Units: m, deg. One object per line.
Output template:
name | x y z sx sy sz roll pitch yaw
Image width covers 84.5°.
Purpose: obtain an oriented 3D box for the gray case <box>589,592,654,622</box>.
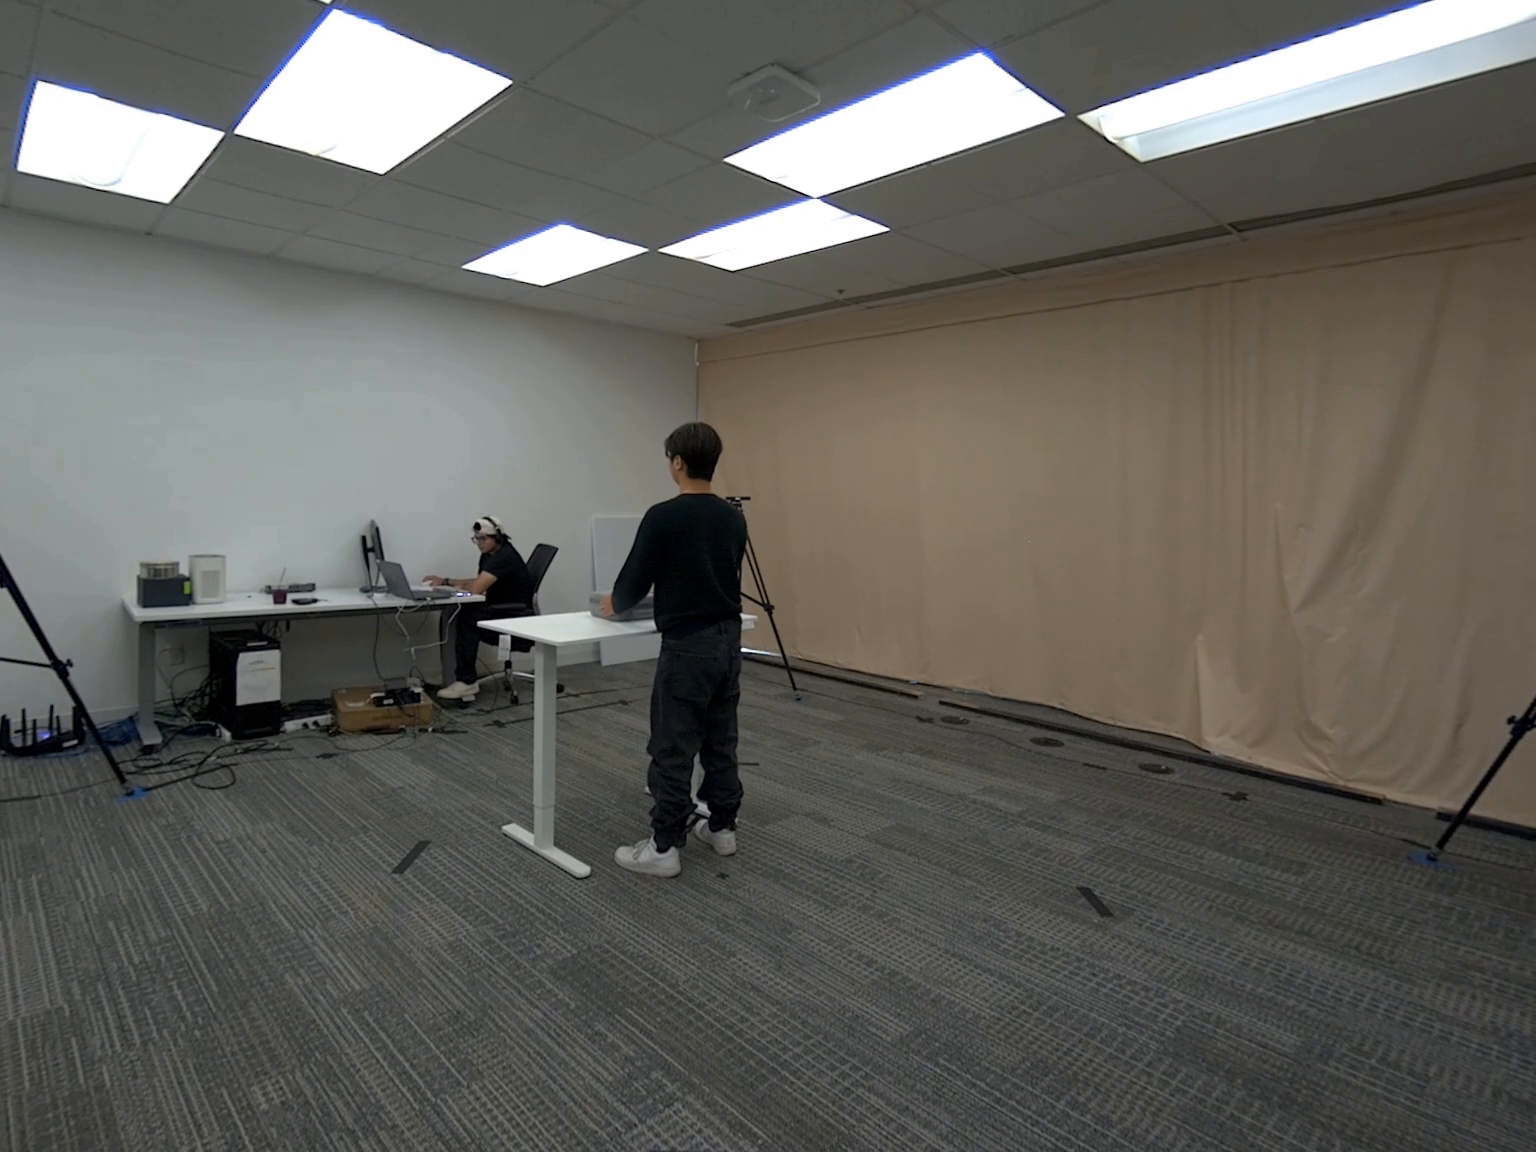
gray case | -0.600 0.121 3.566 0.251 0.104 0.267 -2 5 -39
